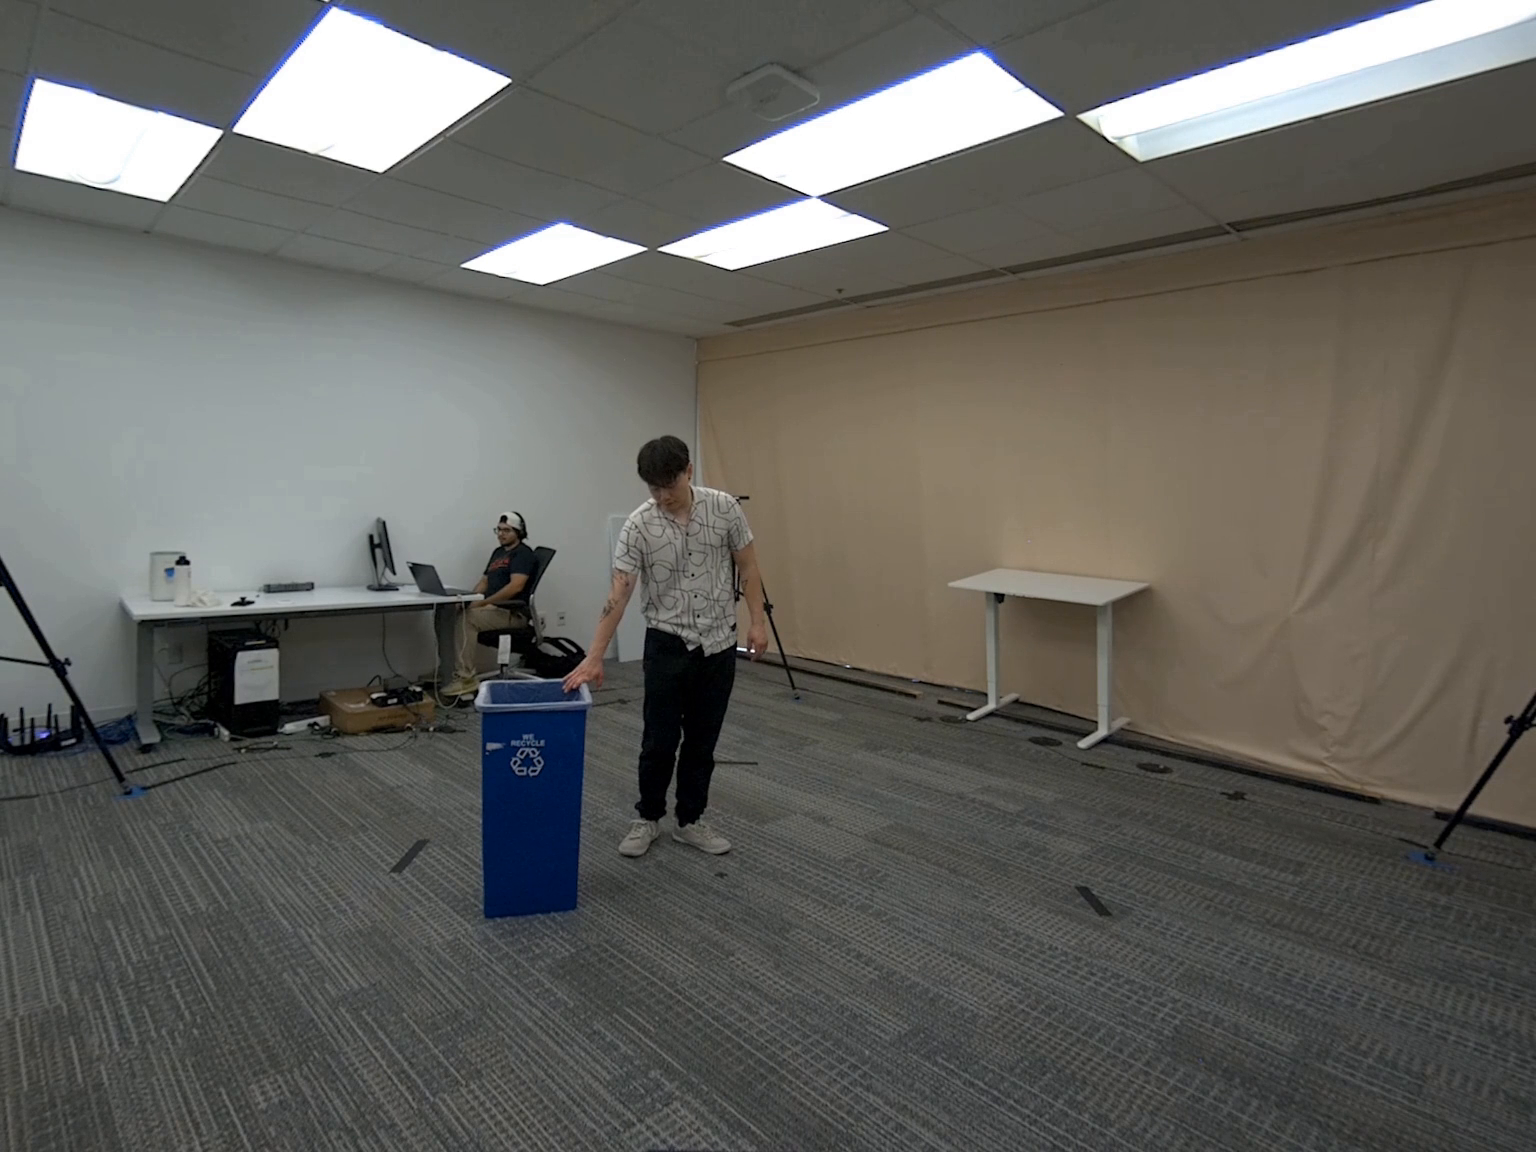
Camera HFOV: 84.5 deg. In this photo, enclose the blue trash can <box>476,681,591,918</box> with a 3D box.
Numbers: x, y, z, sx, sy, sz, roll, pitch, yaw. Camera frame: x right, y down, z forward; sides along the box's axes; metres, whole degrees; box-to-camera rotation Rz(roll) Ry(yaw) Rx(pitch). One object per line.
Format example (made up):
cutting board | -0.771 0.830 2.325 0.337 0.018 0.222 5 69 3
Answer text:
blue trash can | -0.814 0.750 2.907 0.369 0.711 0.384 1 4 -17
